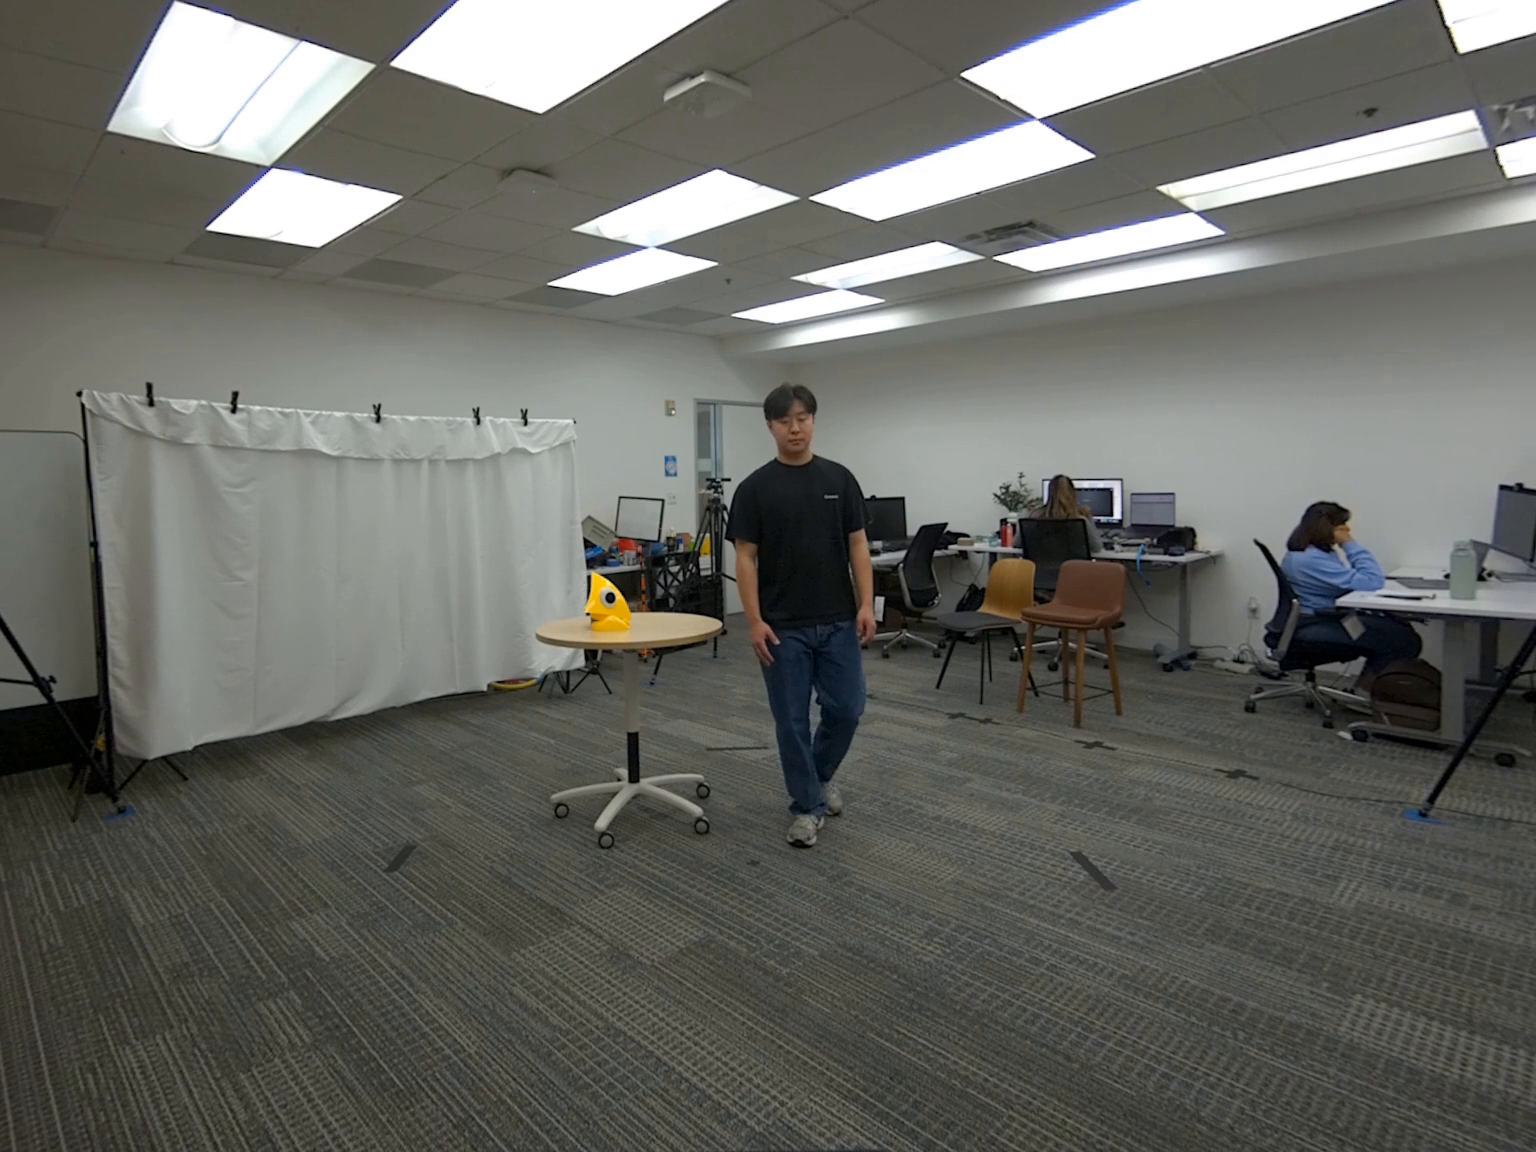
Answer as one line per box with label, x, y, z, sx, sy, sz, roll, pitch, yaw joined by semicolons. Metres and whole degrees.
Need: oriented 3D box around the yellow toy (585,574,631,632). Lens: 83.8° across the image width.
yellow toy;-0.655;0.094;3.508;0.191;0.230;0.207;-3;5;-9
